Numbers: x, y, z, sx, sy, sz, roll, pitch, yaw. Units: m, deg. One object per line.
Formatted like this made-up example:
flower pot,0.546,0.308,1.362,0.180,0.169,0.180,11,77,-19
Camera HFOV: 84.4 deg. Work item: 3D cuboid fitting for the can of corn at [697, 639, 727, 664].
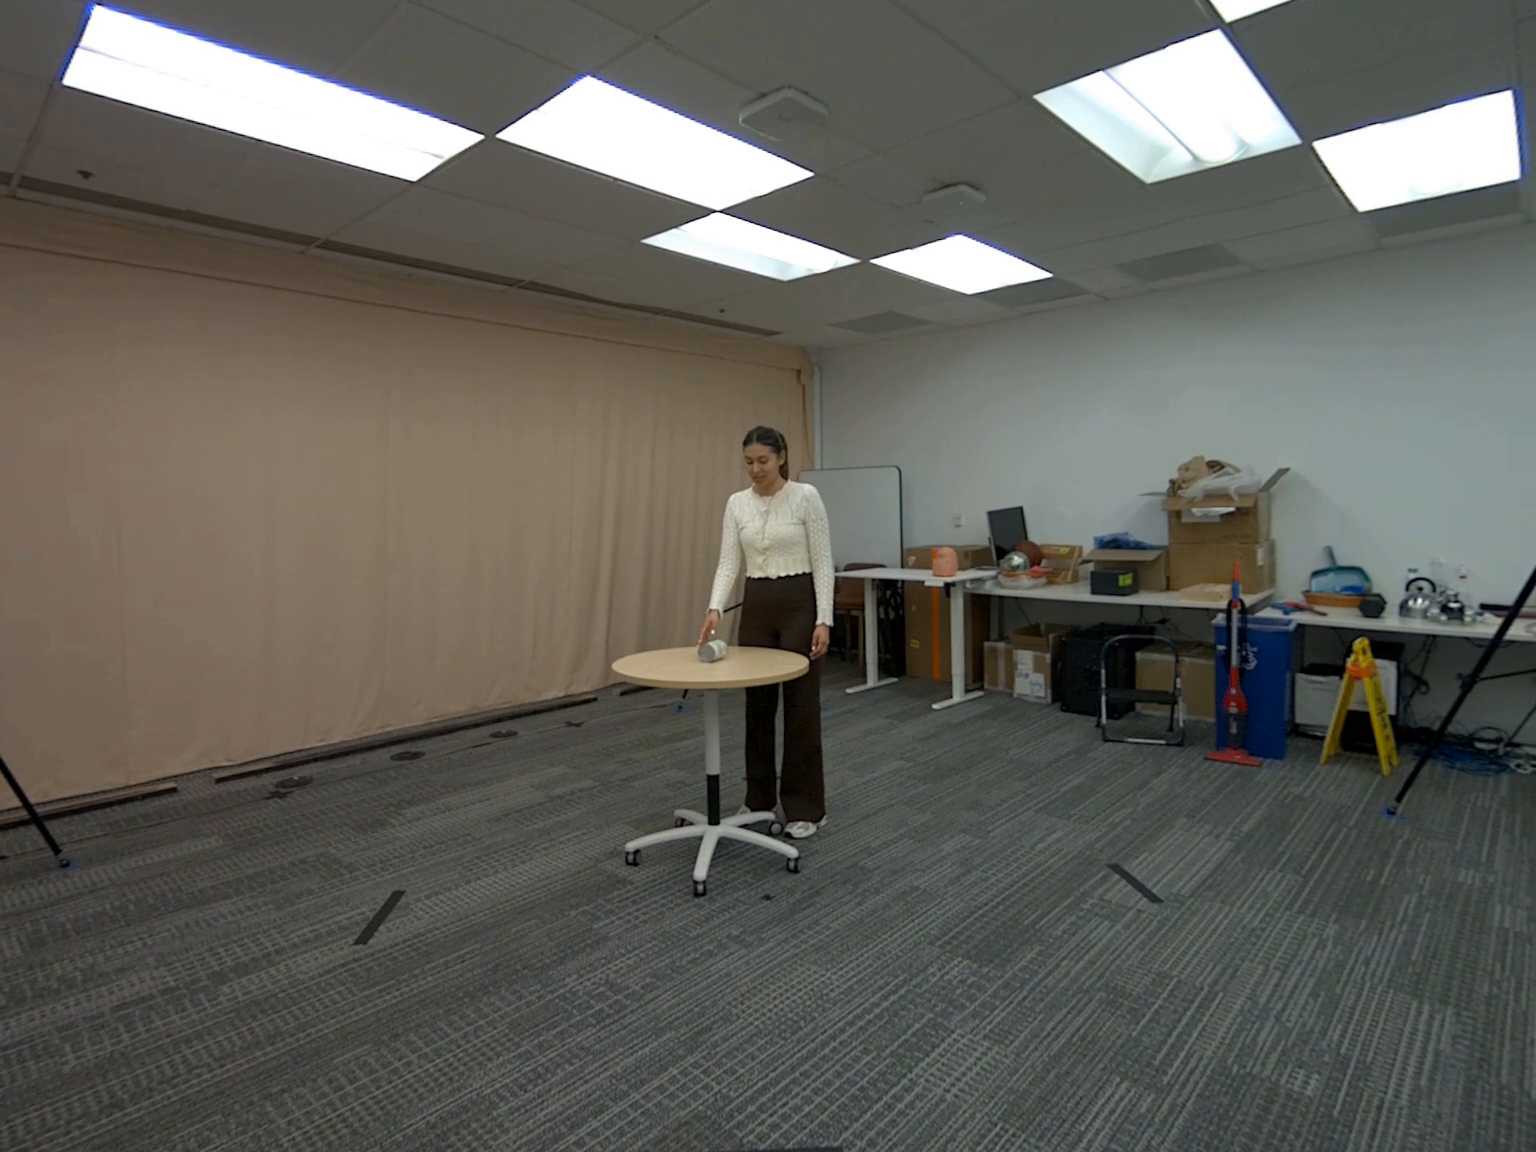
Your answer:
can of corn,-0.212,0.294,3.309,0.076,0.074,0.108,1,3,24
